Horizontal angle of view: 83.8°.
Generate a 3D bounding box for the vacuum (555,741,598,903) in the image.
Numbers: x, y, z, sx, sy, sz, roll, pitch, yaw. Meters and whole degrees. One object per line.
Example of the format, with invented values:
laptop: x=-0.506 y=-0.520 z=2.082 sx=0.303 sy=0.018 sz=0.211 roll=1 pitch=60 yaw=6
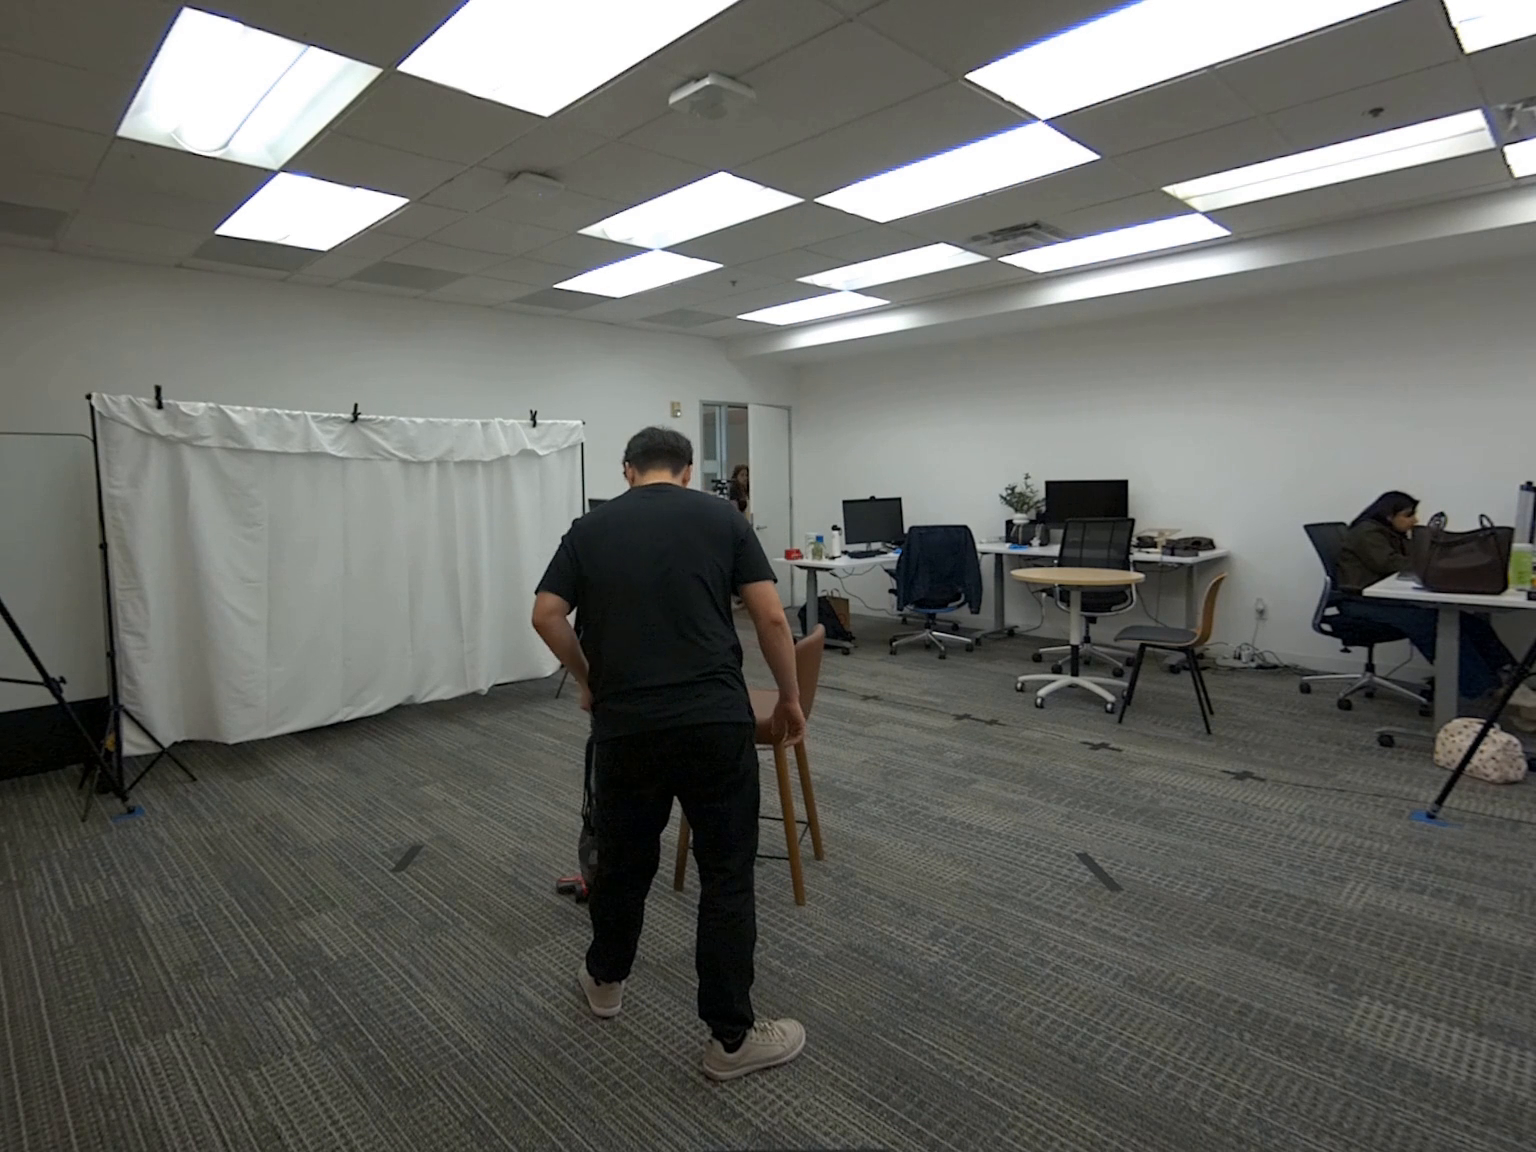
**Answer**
vacuum: x=-0.514 y=0.706 z=2.567 sx=0.248 sy=1.027 sz=0.149 roll=-6 pitch=46 yaw=-20
